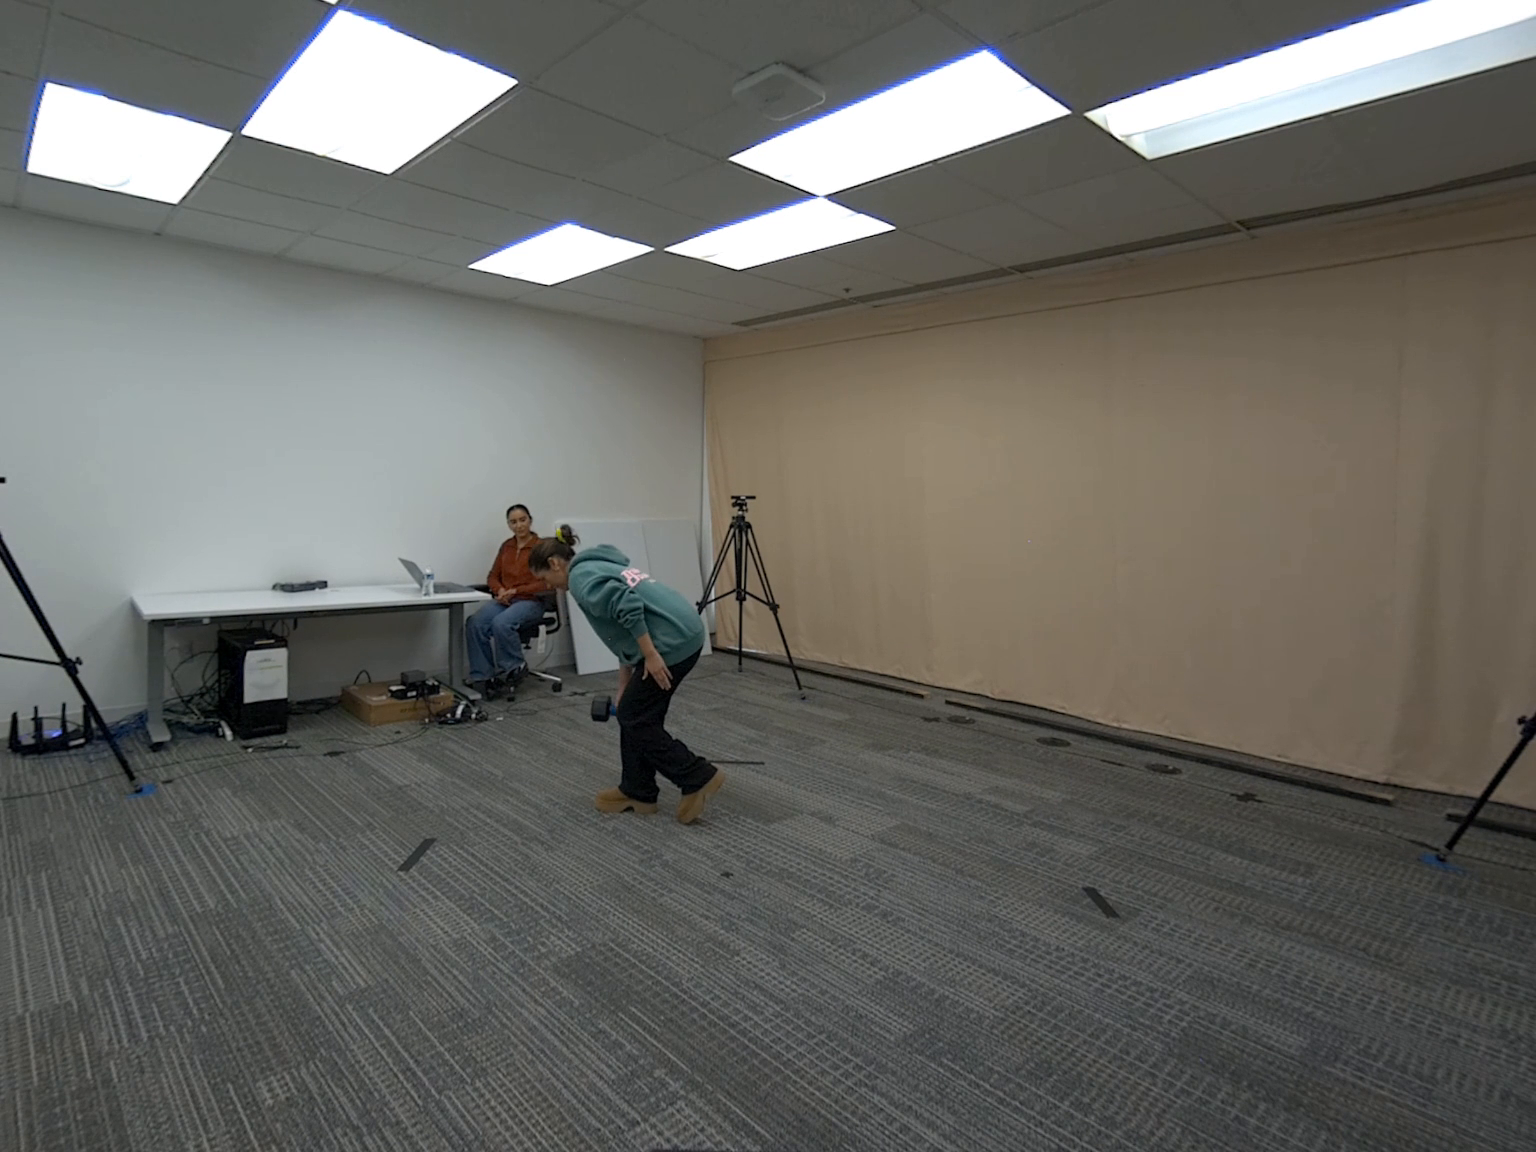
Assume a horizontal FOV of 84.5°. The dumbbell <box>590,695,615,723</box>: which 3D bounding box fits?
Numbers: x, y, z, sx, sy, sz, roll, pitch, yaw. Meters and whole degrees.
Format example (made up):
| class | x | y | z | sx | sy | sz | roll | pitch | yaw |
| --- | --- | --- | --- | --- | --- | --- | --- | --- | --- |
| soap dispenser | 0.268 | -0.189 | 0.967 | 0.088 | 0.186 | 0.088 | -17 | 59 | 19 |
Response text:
| class | x | y | z | sx | sy | sz | roll | pitch | yaw |
| --- | --- | --- | --- | --- | --- | --- | --- | --- | --- |
| dumbbell | -0.670 | 0.618 | 3.874 | 0.294 | 0.124 | 0.107 | 5 | -14 | 2 |
